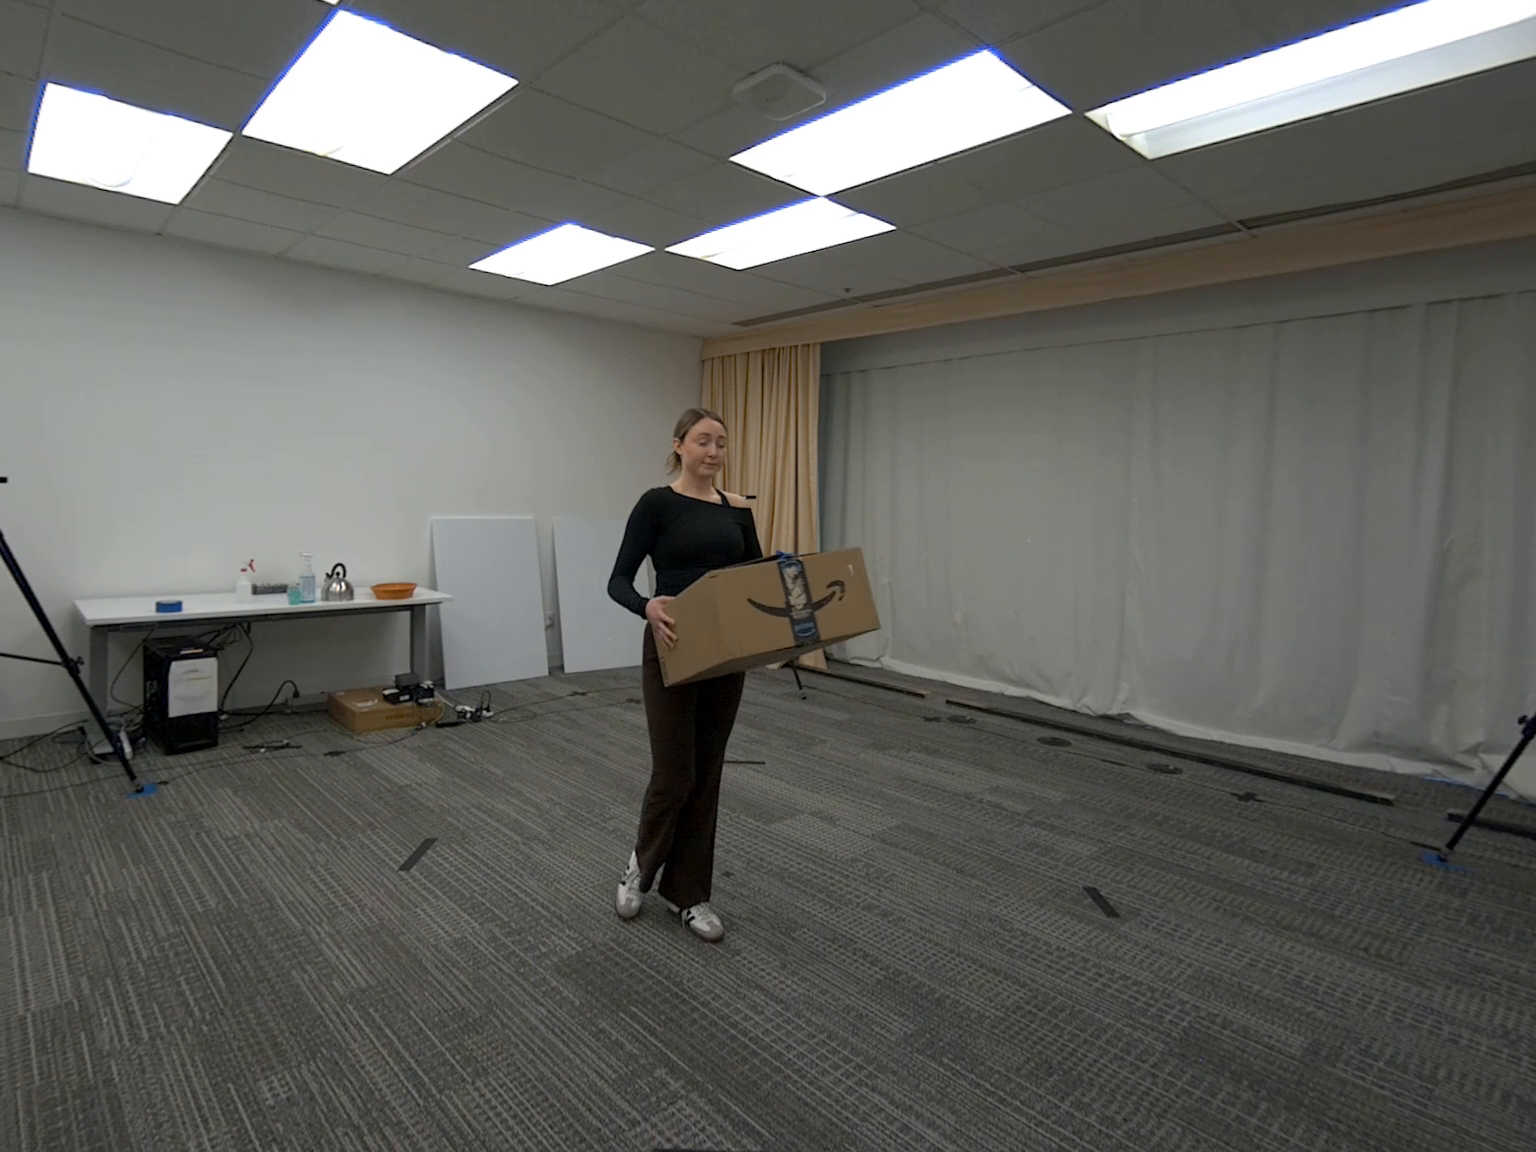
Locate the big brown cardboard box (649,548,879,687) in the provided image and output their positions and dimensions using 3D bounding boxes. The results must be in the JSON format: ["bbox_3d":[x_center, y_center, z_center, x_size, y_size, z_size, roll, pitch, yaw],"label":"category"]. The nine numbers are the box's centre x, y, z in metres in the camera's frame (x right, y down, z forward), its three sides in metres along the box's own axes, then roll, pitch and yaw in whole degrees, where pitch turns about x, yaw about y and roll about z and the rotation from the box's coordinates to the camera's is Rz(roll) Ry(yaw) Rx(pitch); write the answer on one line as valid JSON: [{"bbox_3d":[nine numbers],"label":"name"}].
[{"bbox_3d":[-0.040,0.127,2.282,0.411,0.235,0.592,-9,-11,-24],"label":"big brown cardboard box"}]
